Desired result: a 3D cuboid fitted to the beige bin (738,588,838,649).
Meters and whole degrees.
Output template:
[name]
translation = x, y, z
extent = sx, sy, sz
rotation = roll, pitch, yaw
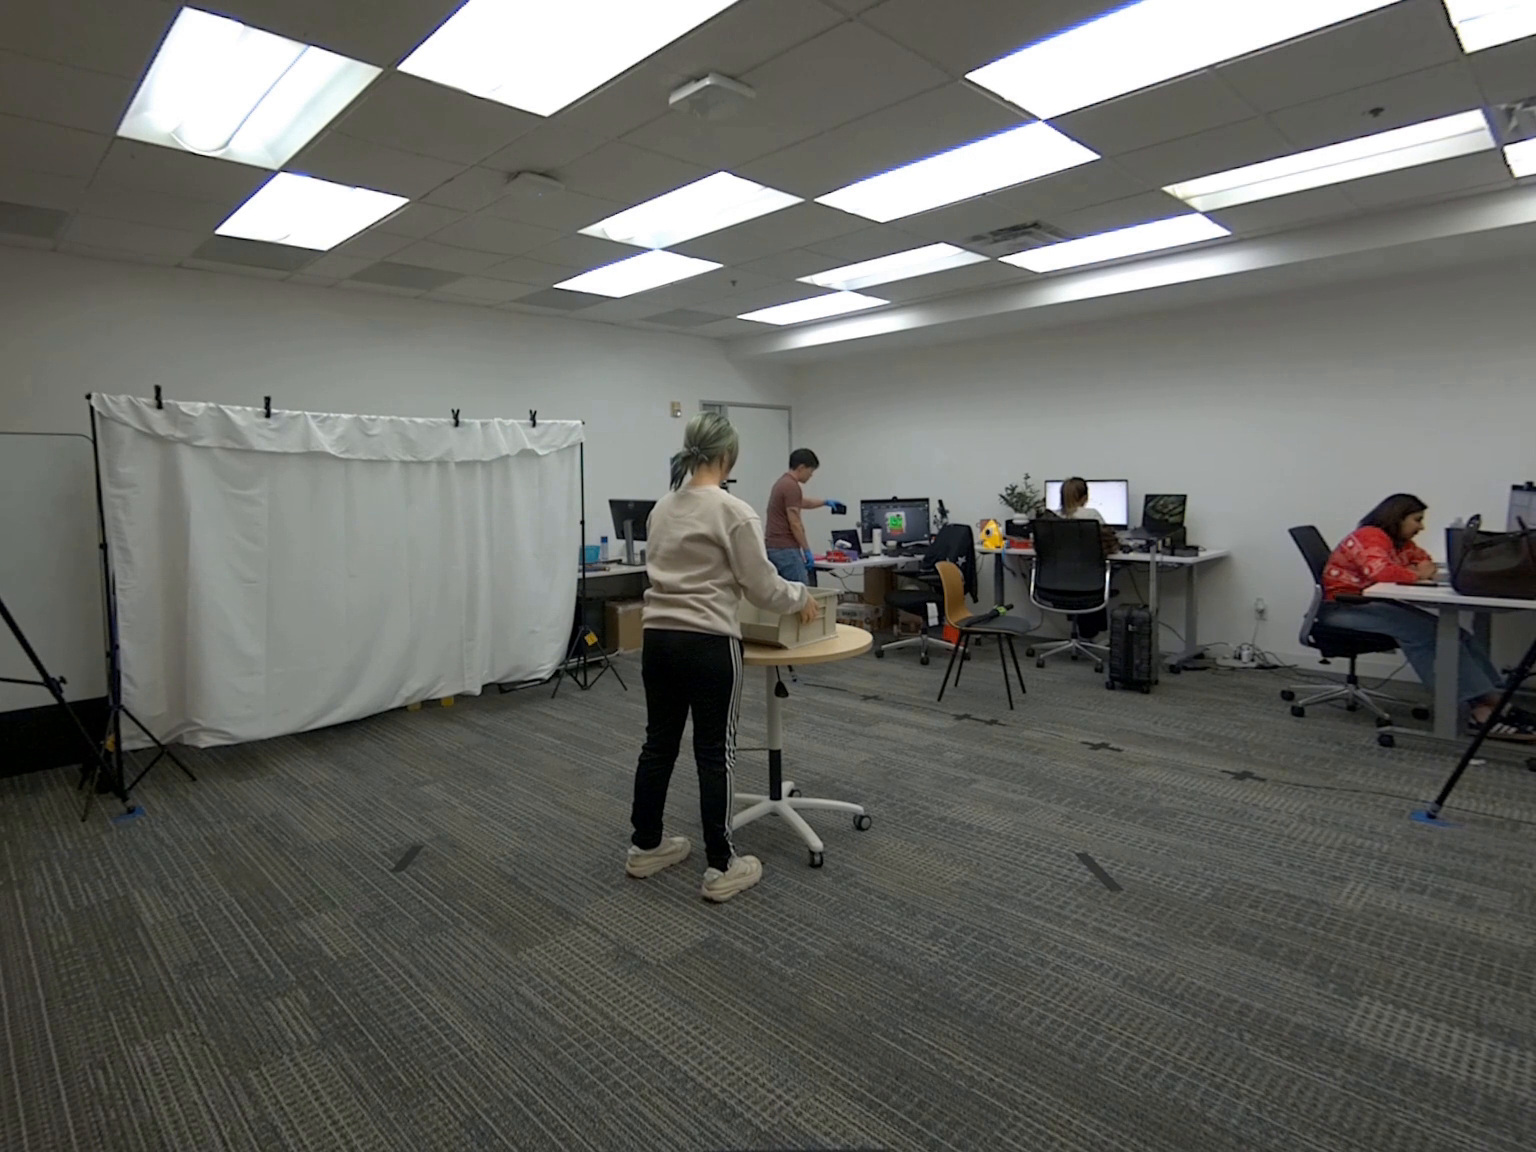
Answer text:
[beige bin]
translation = 0.003, 0.150, 3.303
extent = 0.435, 0.188, 0.367
rotation = 4, 6, 41
